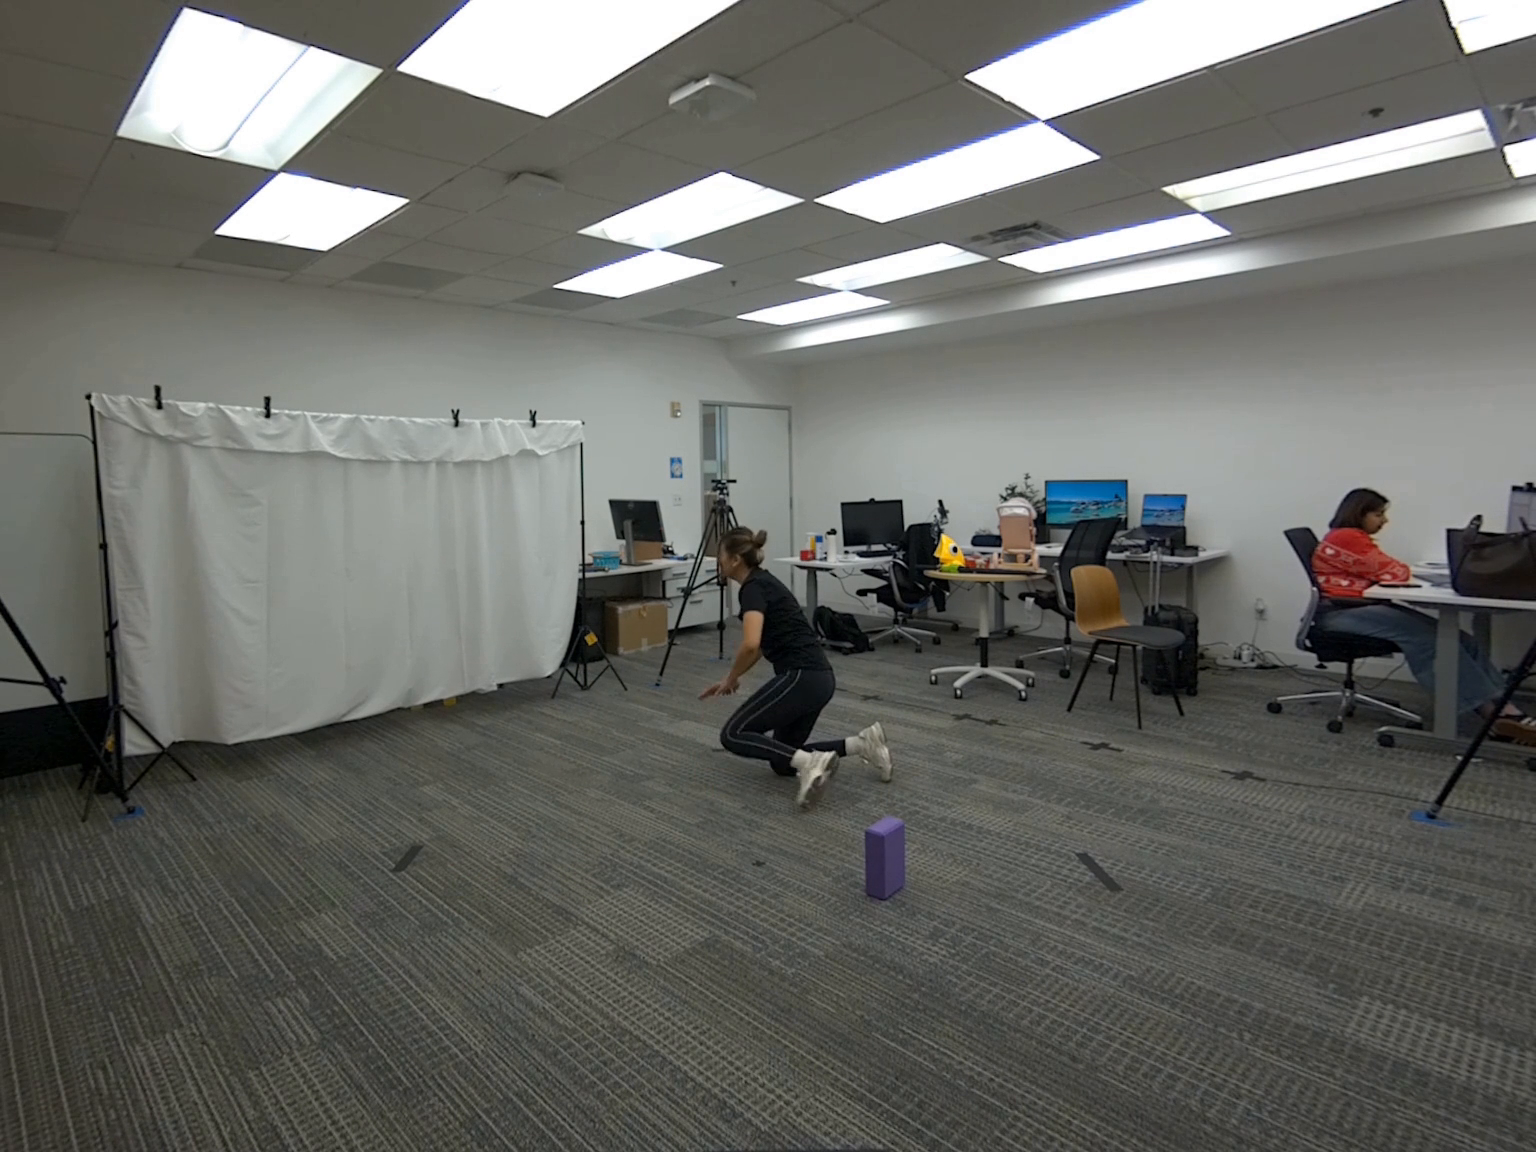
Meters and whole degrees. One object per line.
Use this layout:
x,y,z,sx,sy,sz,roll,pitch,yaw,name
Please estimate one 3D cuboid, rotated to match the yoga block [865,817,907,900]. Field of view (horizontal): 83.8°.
0.396,0.953,2.881,0.078,0.228,0.145,1,5,38,yoga block
